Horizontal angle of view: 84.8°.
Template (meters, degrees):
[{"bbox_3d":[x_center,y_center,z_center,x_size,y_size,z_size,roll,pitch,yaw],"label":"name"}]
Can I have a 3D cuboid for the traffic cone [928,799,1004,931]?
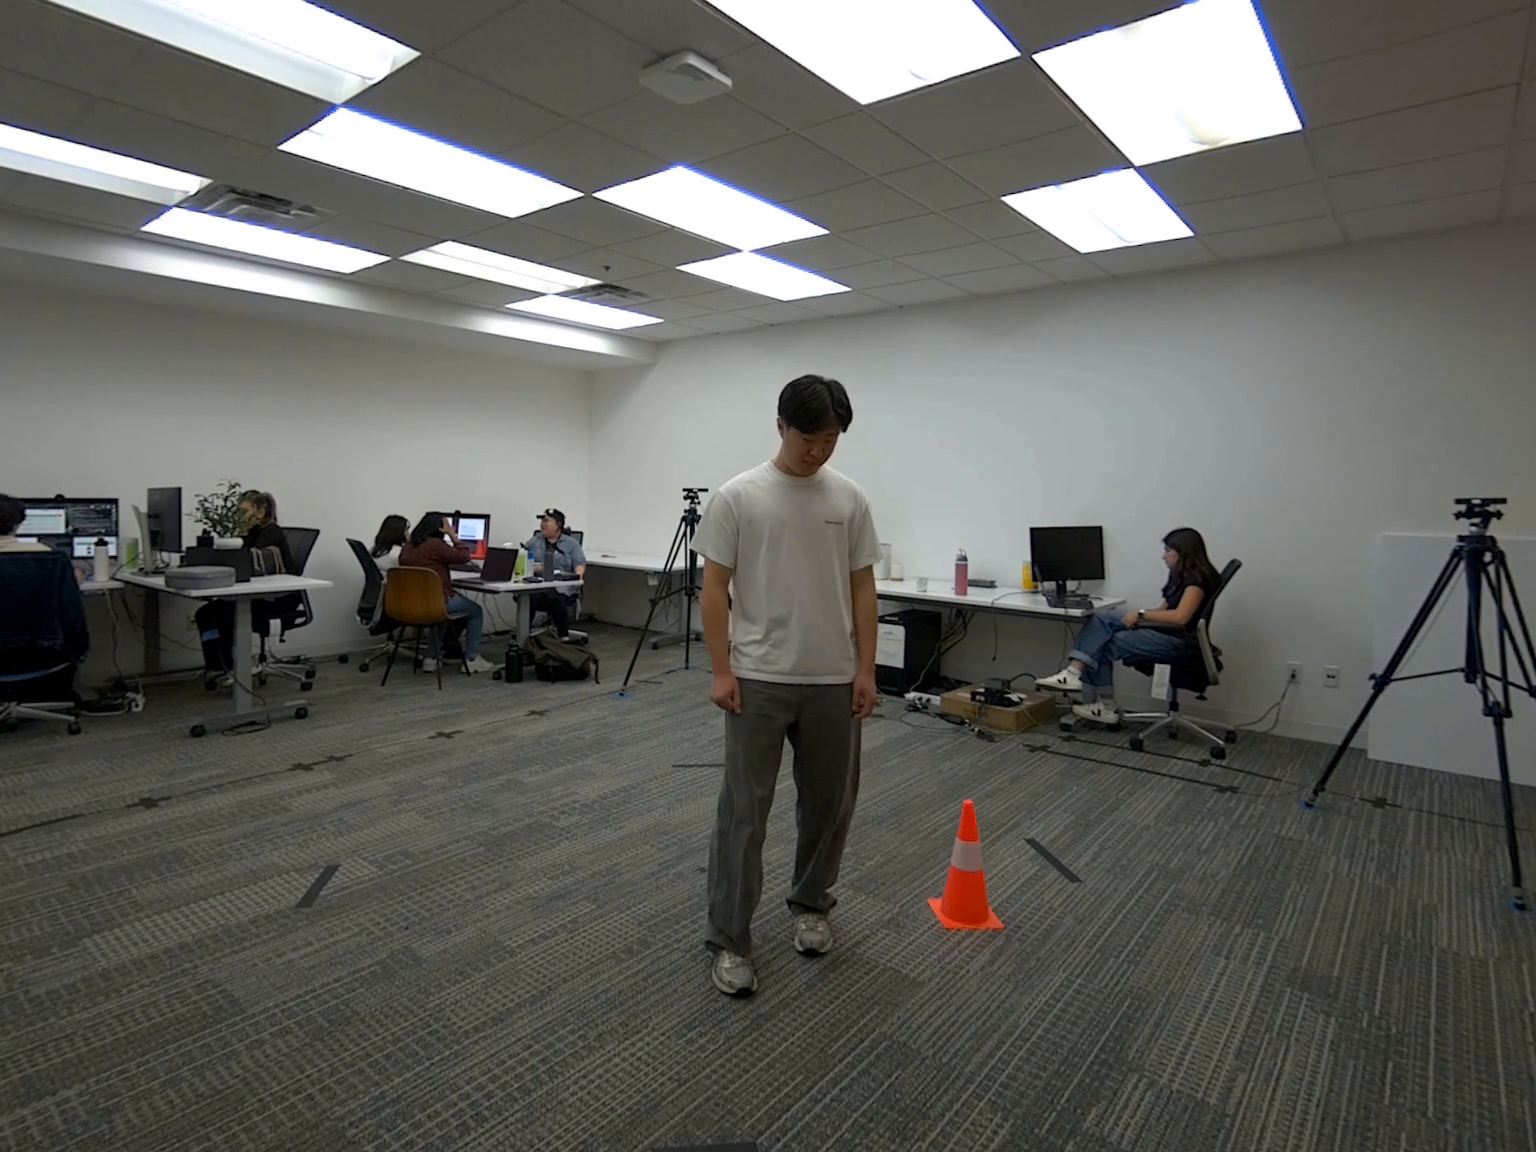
[{"bbox_3d":[0.672,0.927,2.817,0.203,0.382,0.206,1,5,-8],"label":"traffic cone"}]
